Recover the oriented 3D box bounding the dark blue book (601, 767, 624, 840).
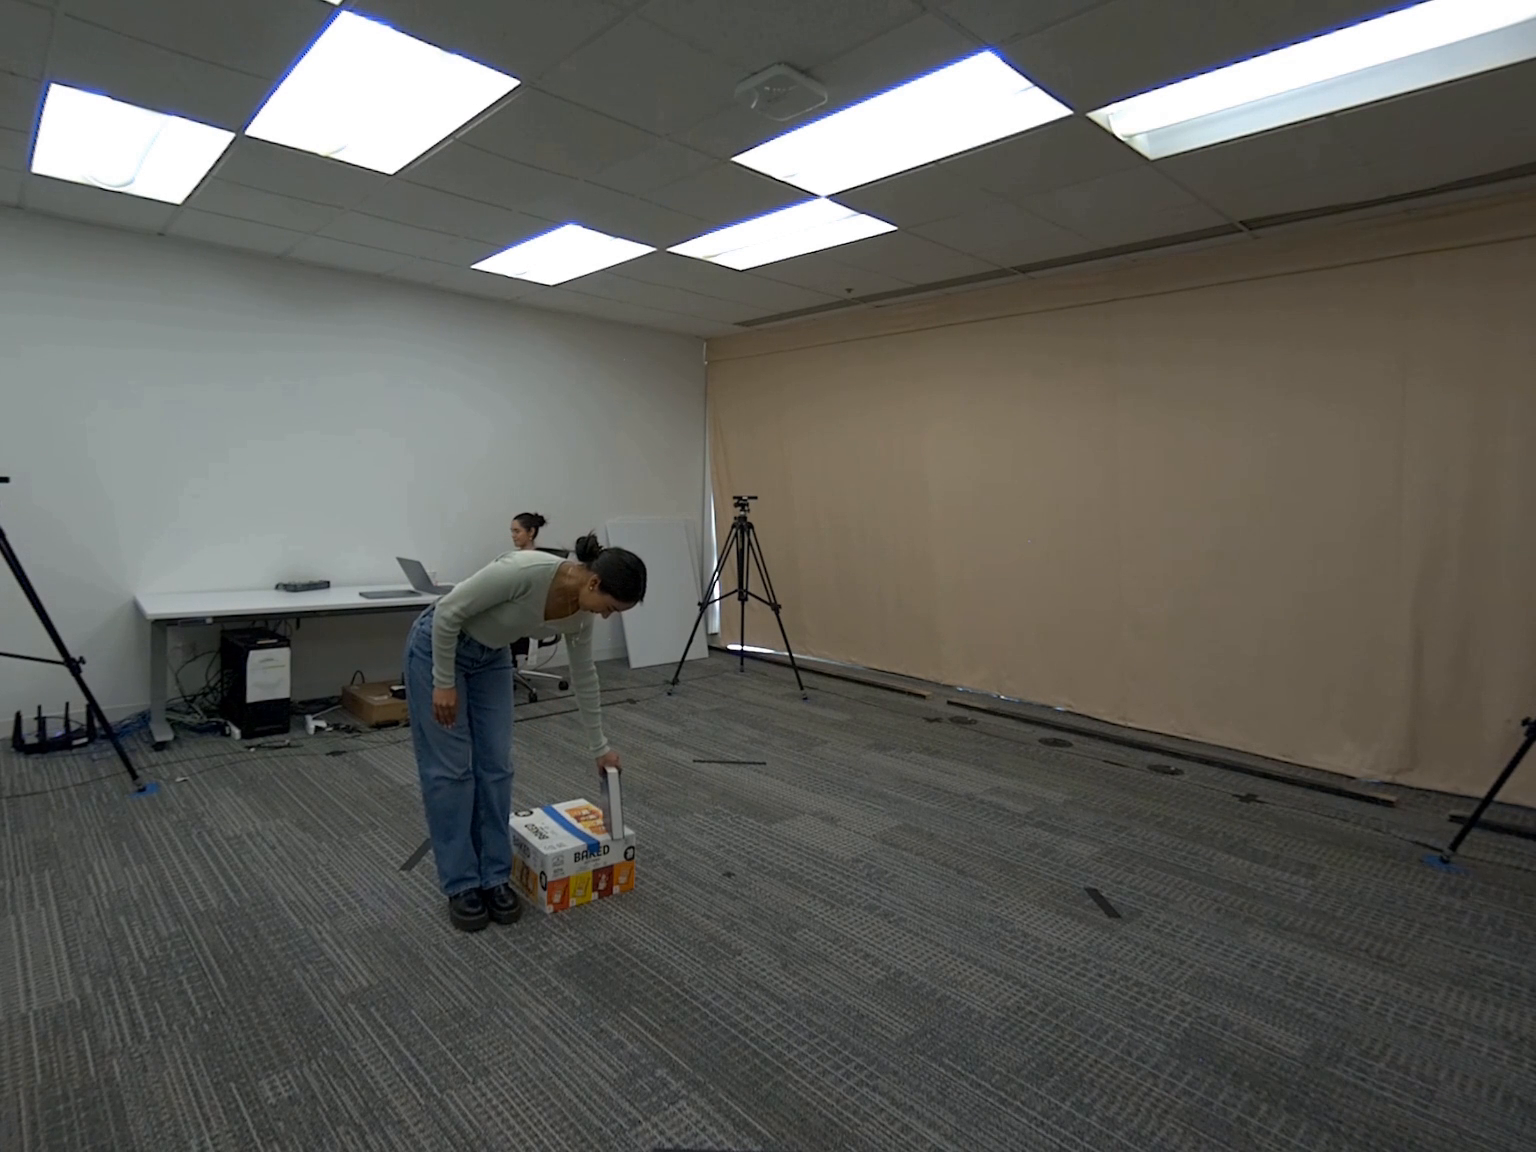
[{"bbox_3d":[-0.561,0.789,2.972,0.044,0.244,0.166,-5,5,-22],"label":"dark blue book"}]
